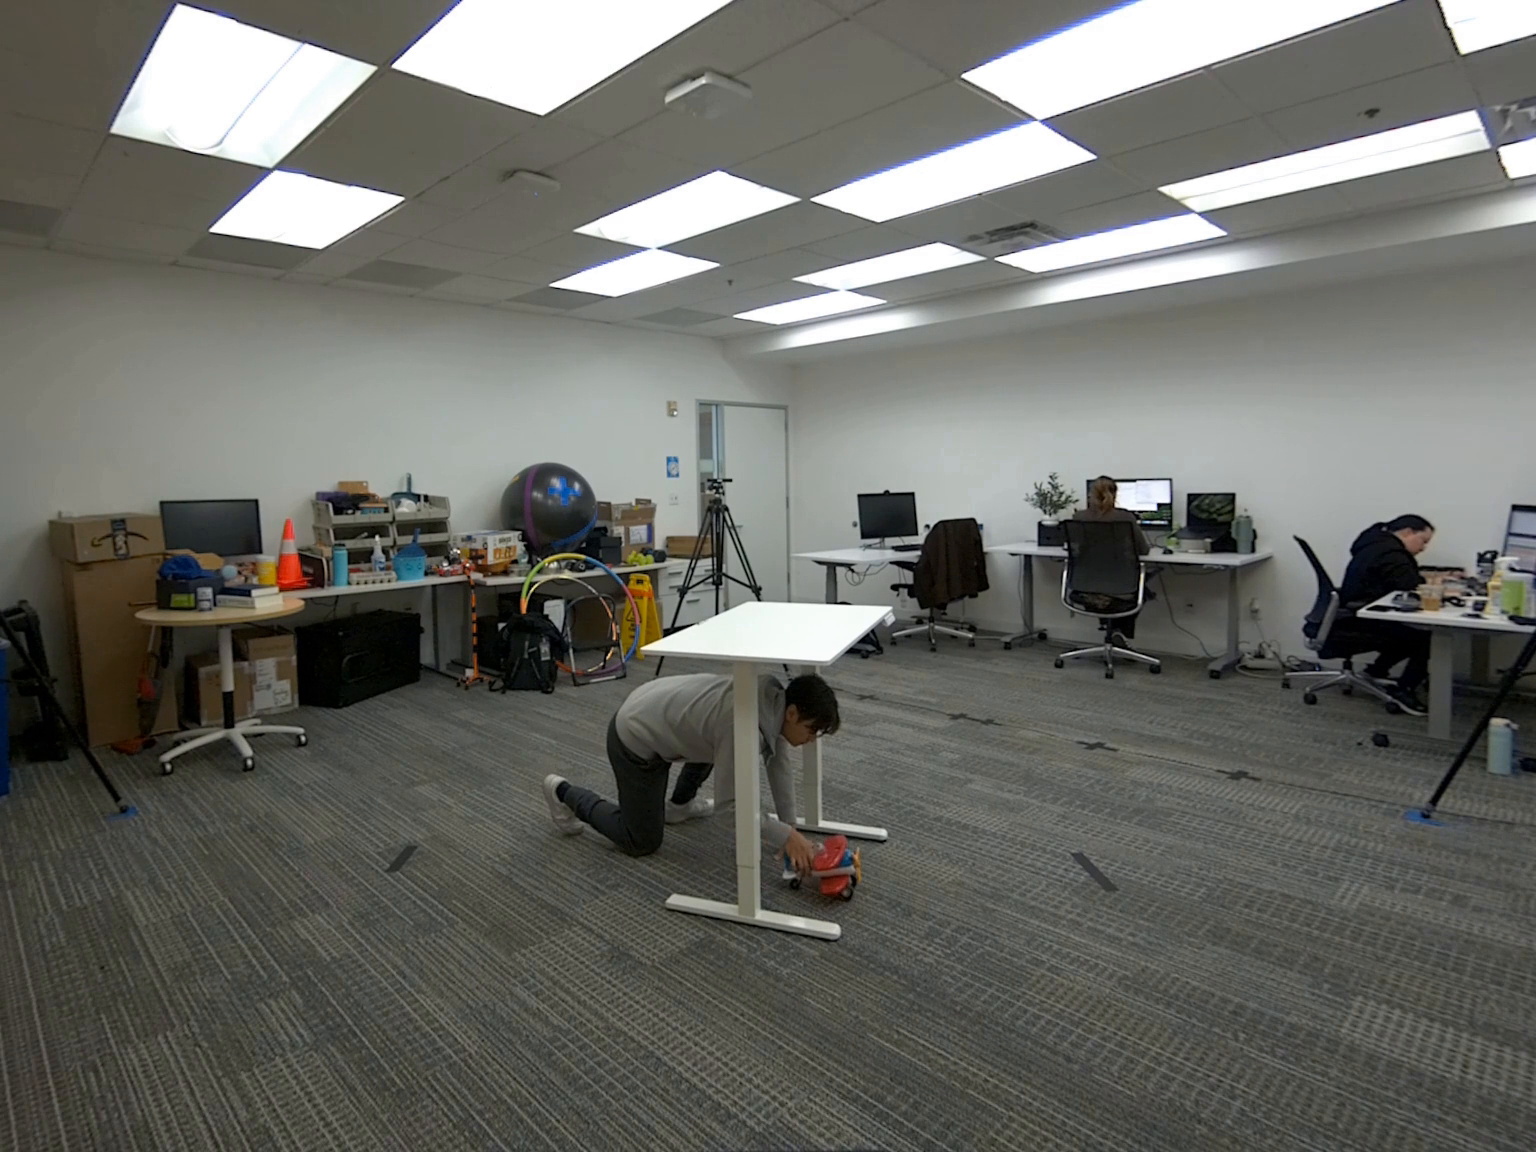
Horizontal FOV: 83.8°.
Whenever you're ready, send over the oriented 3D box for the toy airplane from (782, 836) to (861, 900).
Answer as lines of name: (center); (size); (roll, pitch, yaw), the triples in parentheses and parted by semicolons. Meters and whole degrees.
toy airplane: (0.185, 1.001, 2.869); (0.256, 0.156, 0.255); (0, 4, -14)
